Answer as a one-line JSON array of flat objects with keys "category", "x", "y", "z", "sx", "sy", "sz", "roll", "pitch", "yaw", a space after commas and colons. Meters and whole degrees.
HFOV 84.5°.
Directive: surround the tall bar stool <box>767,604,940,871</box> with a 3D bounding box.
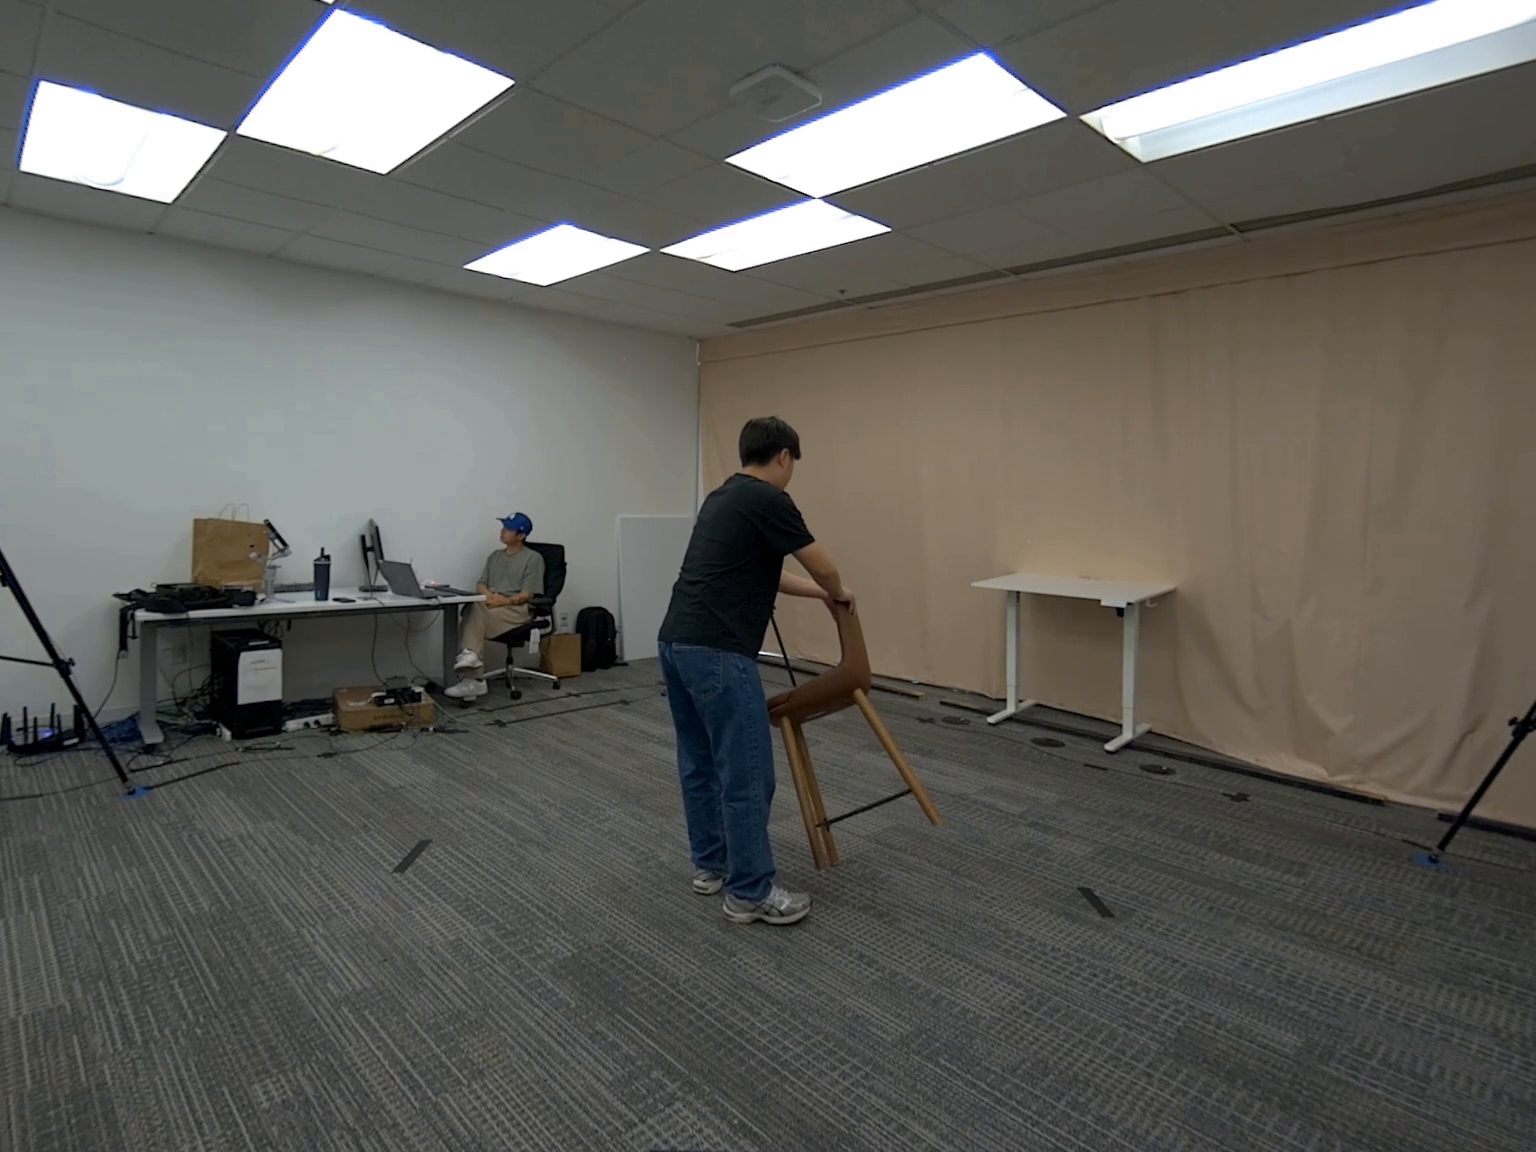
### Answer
[{"category": "tall bar stool", "x": 0.247, "y": 0.587, "z": 3.181, "sx": 0.469, "sy": 0.905, "sz": 0.447, "roll": -22, "pitch": -18, "yaw": 6}]
